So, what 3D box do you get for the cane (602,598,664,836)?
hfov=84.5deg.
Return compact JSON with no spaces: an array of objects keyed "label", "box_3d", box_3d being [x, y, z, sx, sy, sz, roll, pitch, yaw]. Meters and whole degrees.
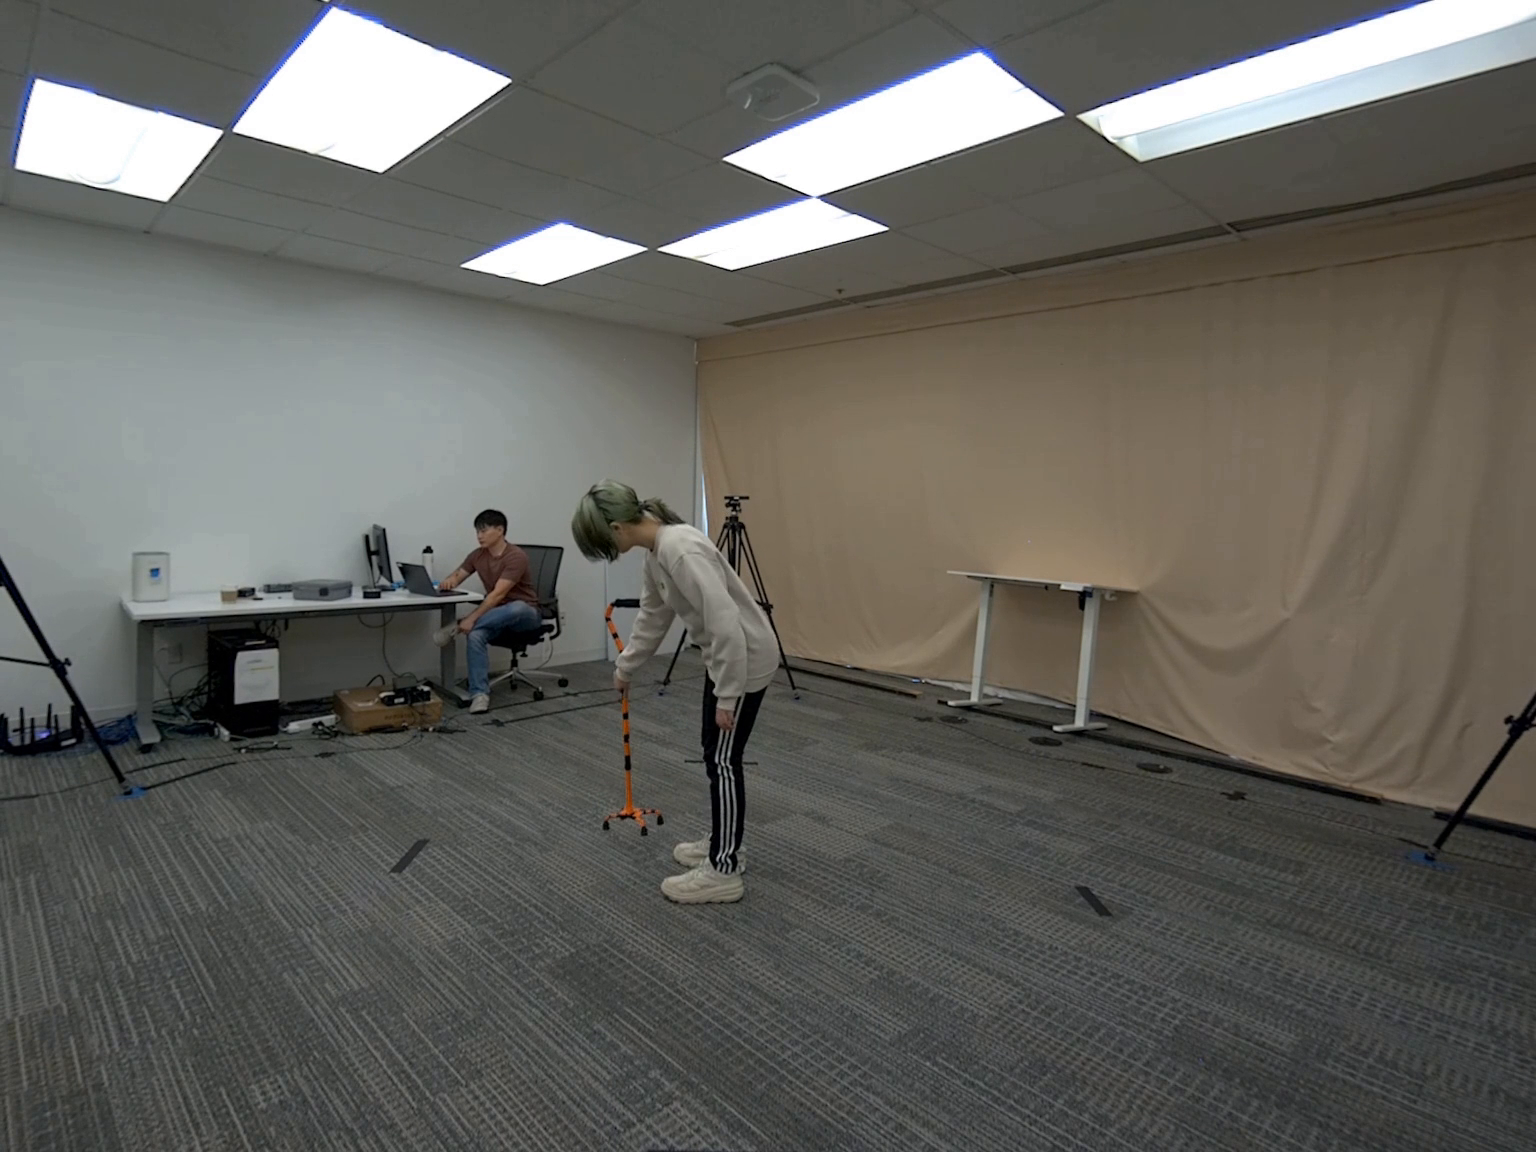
[{"label":"cane","box_3d":[-0.570,0.544,3.329,0.210,0.906,0.149,-3,3,24]}]
